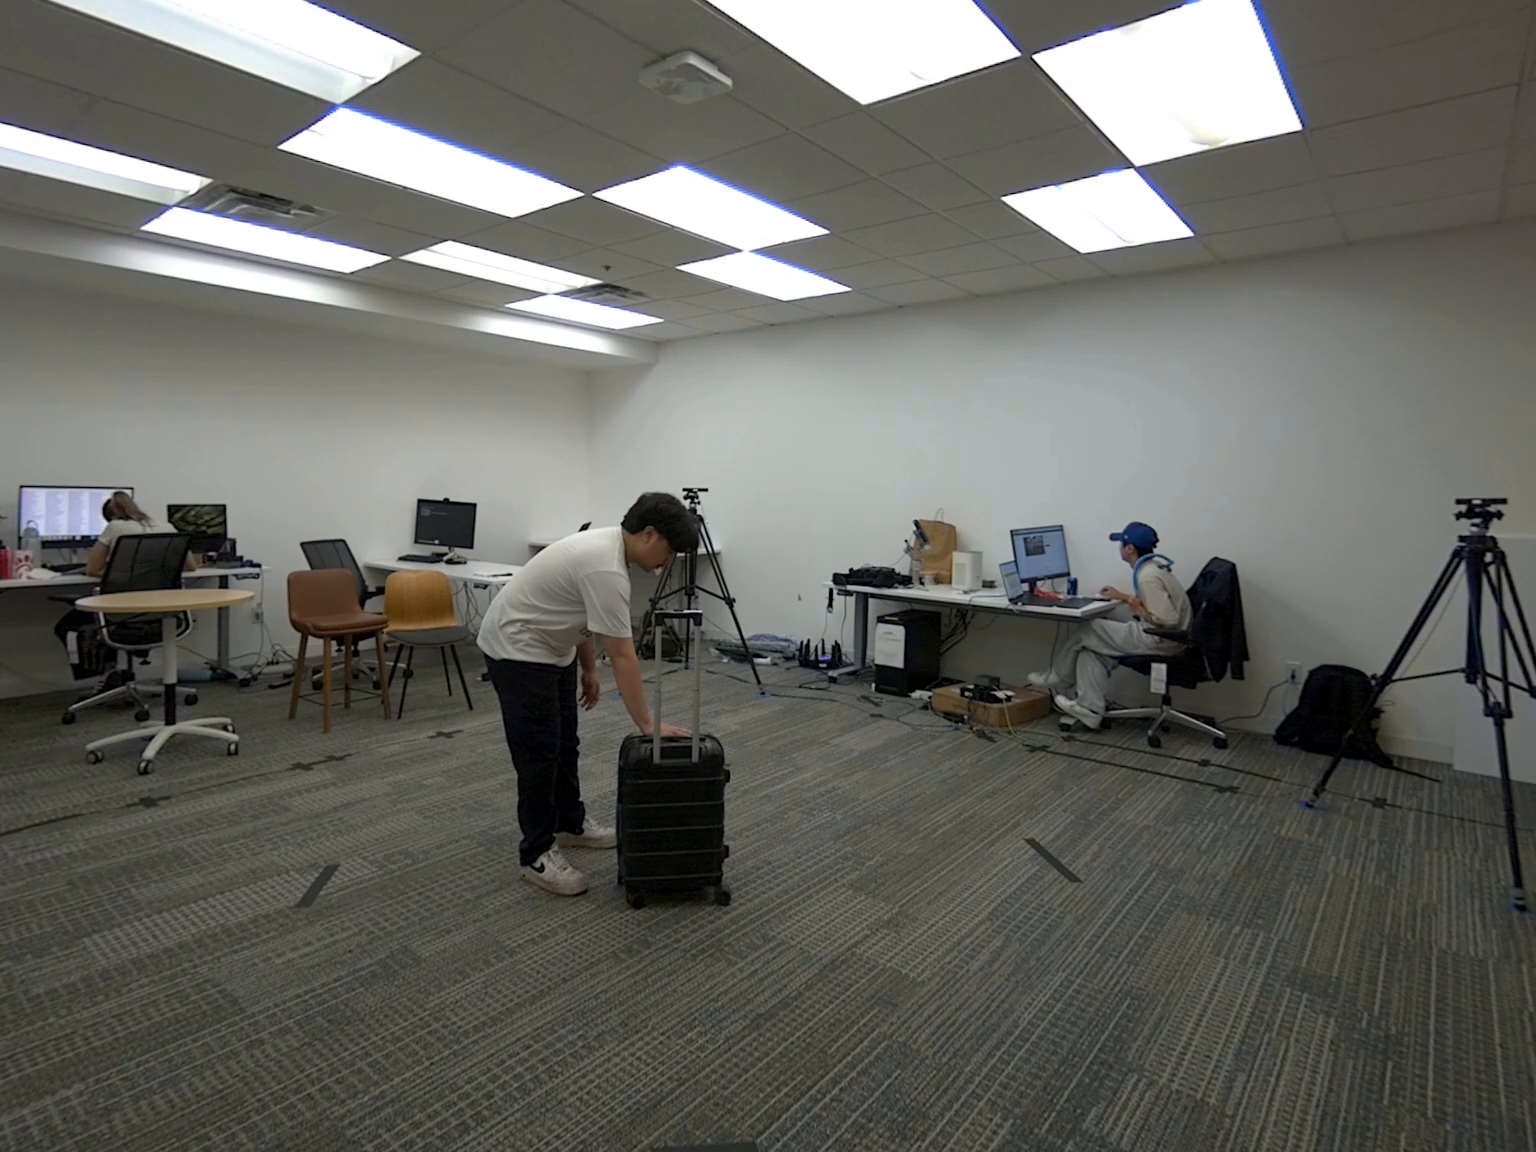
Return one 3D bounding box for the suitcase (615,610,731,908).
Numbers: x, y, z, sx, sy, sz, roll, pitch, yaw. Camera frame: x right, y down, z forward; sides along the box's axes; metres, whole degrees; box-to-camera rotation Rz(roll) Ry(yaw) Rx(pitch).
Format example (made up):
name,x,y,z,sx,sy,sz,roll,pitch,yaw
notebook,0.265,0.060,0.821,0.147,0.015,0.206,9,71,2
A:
name,x,y,z,sx,sy,sz,roll,pitch,yaw
suitcase,-0.341,0.613,2.915,0.380,0.979,0.259,1,0,-10
